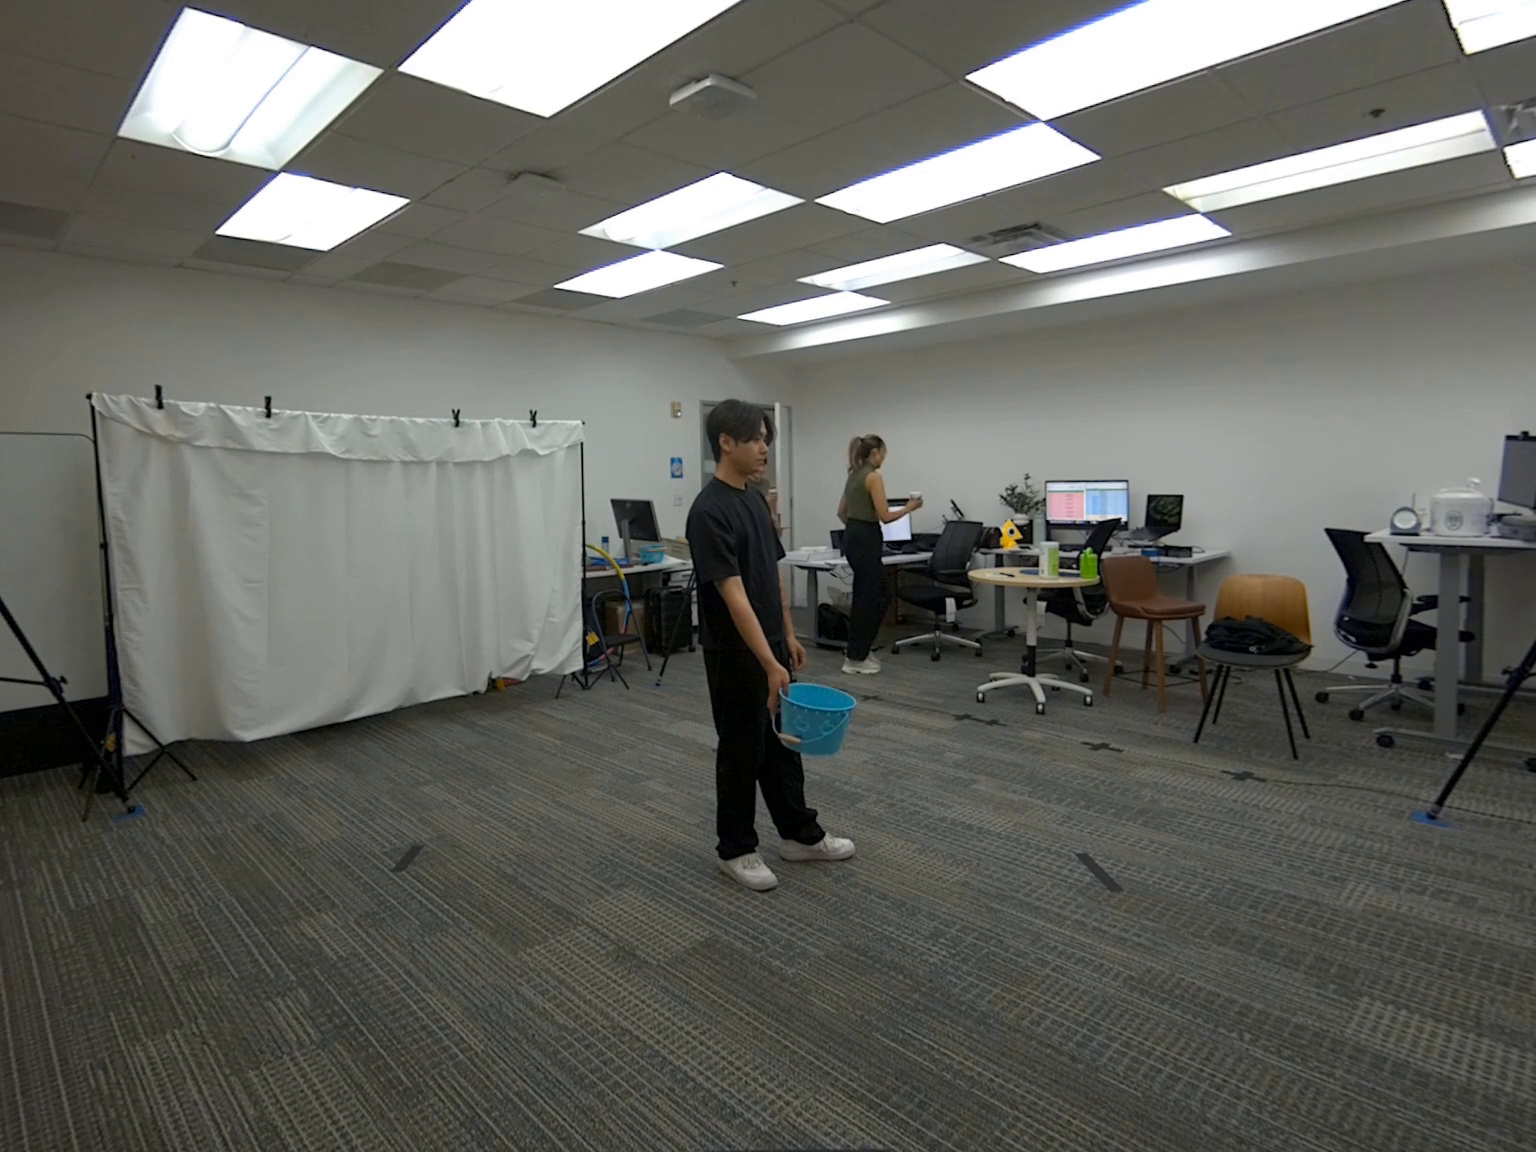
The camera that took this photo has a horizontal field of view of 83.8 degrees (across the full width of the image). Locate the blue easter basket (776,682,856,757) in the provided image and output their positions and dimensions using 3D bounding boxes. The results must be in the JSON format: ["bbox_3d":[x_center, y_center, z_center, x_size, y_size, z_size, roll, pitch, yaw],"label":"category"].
[{"bbox_3d":[0.131,0.439,2.579,0.243,0.155,0.246,7,9,-3],"label":"blue easter basket"}]
